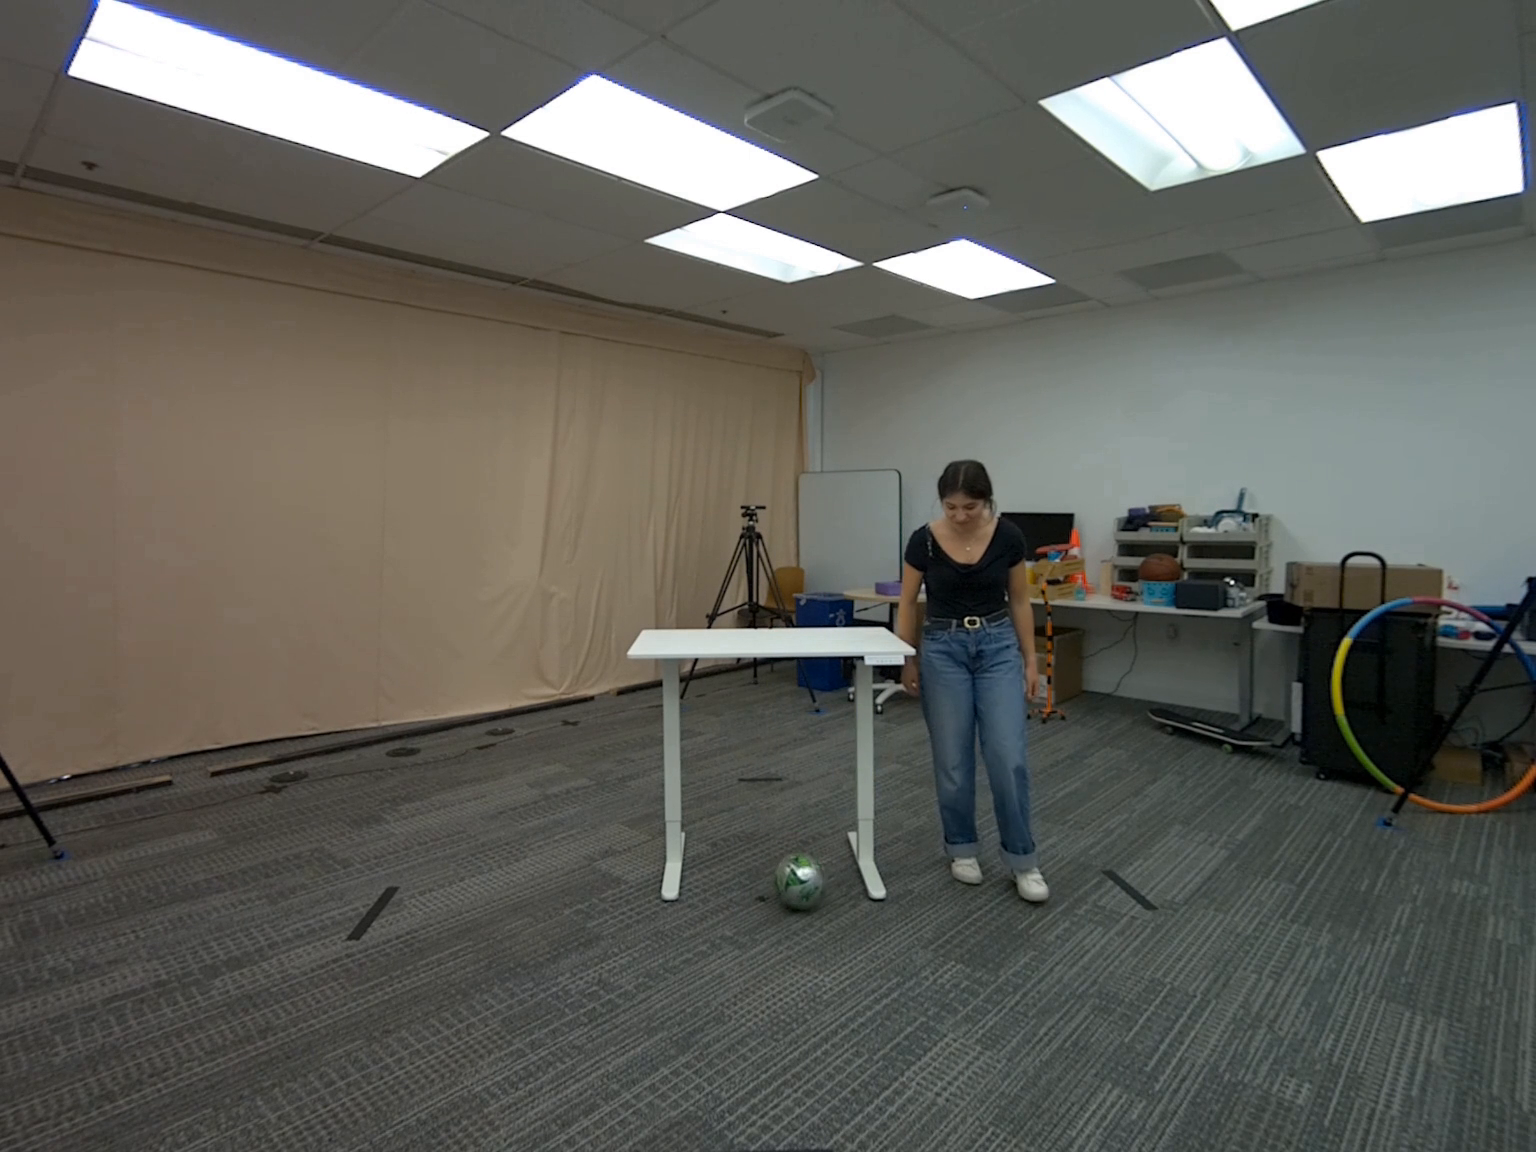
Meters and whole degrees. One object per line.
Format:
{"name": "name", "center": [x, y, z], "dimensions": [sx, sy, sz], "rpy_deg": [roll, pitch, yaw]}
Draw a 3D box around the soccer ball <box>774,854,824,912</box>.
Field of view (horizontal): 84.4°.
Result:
{"name": "soccer ball", "center": [0.120, 1.062, 2.912], "dimensions": [0.187, 0.187, 0.188], "rpy_deg": [0, 4, -2]}
